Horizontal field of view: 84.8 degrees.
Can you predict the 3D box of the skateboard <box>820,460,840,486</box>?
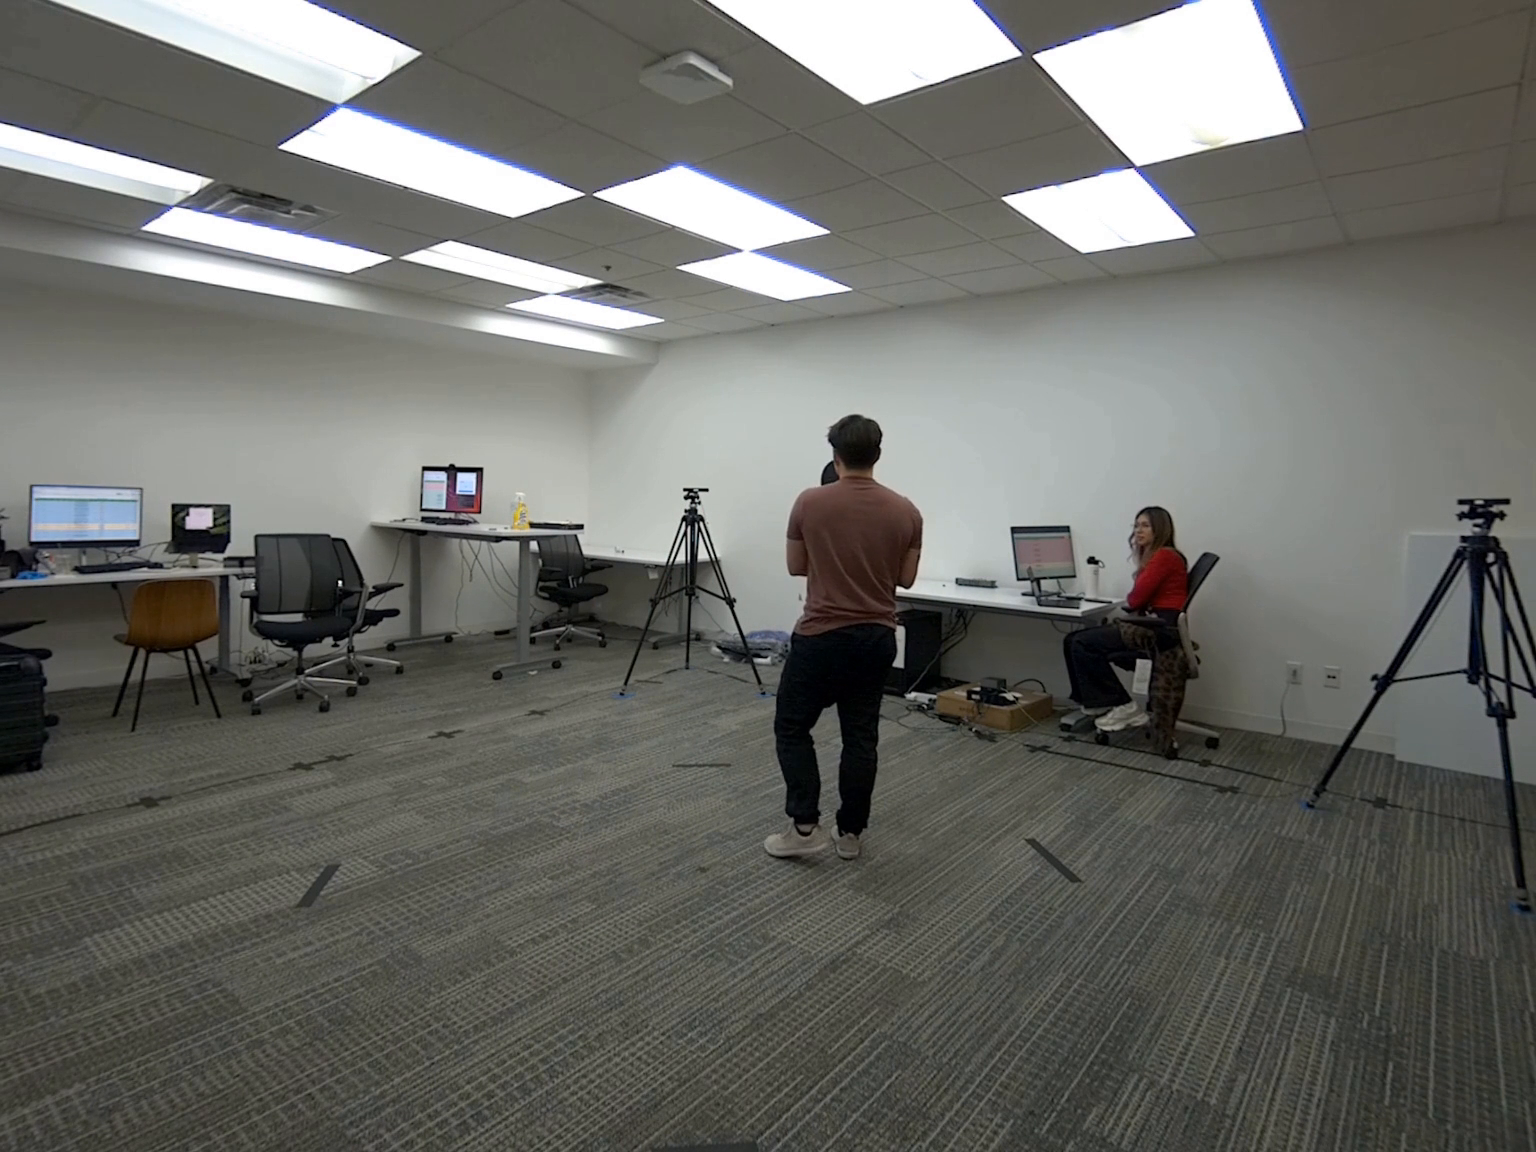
[{"bbox_3d":[0.353,-0.106,3.606,0.194,0.796,0.108,-12,-12,4],"label":"skateboard"}]
